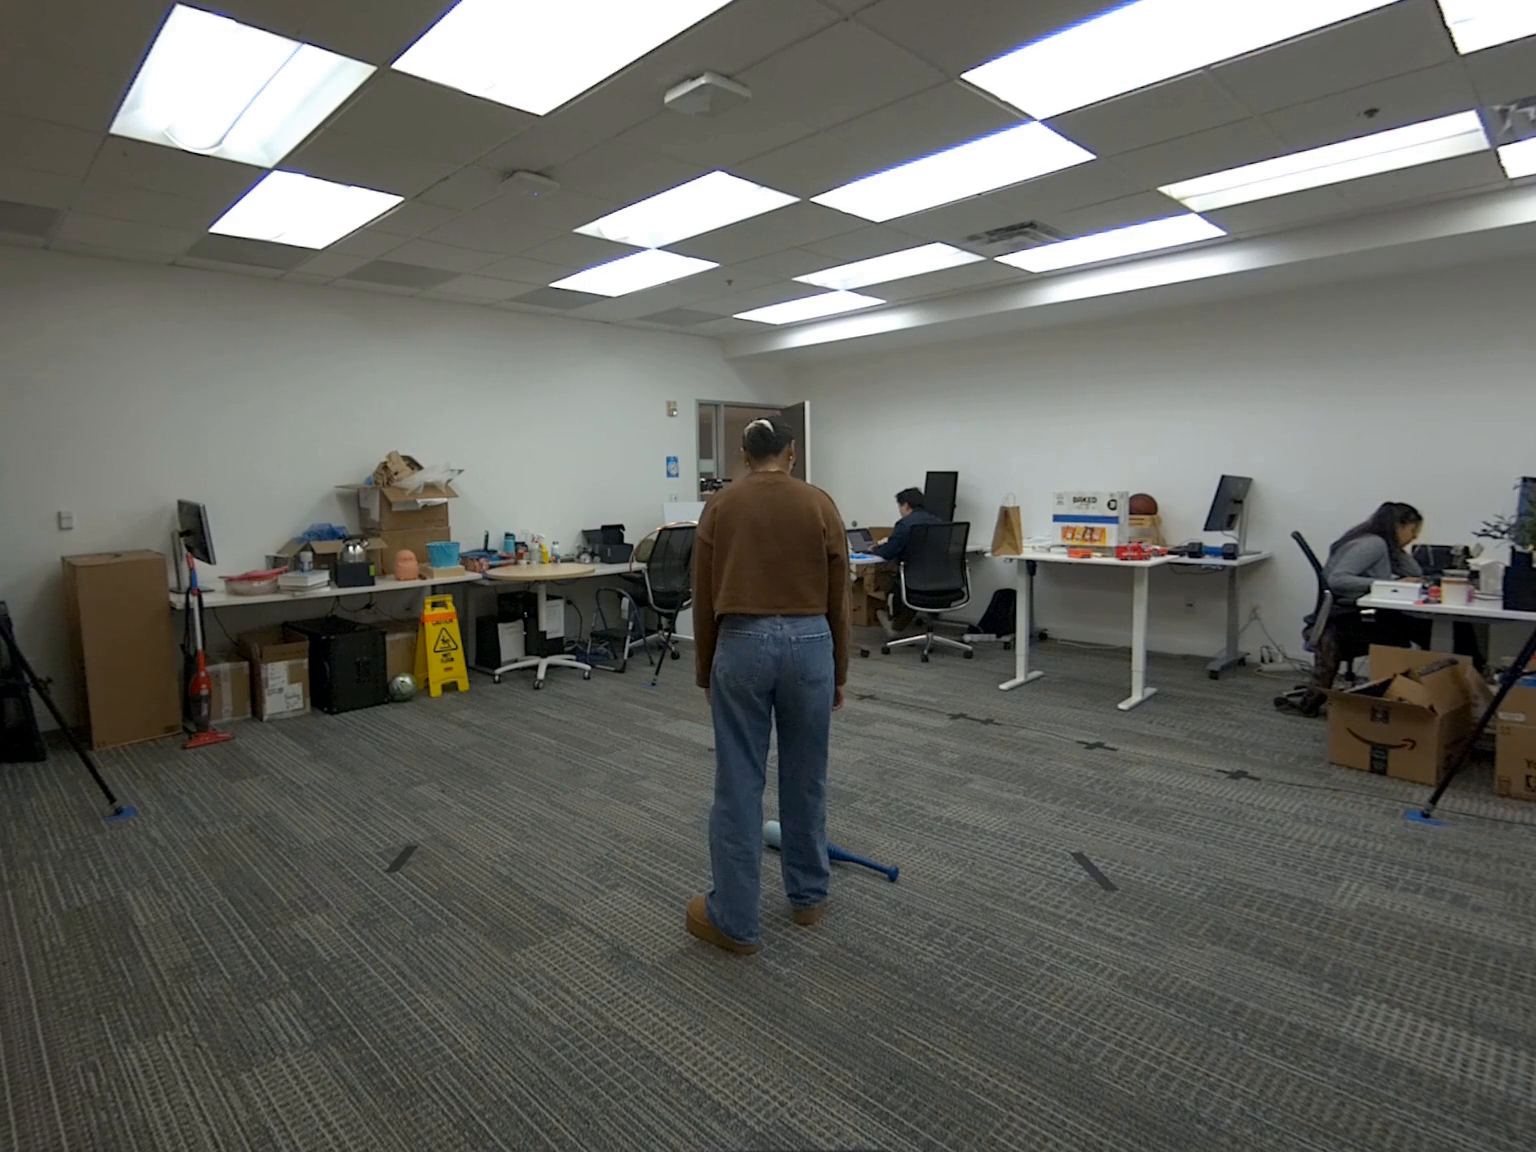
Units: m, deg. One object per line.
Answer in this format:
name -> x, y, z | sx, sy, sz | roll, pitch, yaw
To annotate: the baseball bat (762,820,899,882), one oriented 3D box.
baseball bat -> 0.222, 1.006, 3.111 | 0.560, 0.088, 0.087 | 7, 9, 36
